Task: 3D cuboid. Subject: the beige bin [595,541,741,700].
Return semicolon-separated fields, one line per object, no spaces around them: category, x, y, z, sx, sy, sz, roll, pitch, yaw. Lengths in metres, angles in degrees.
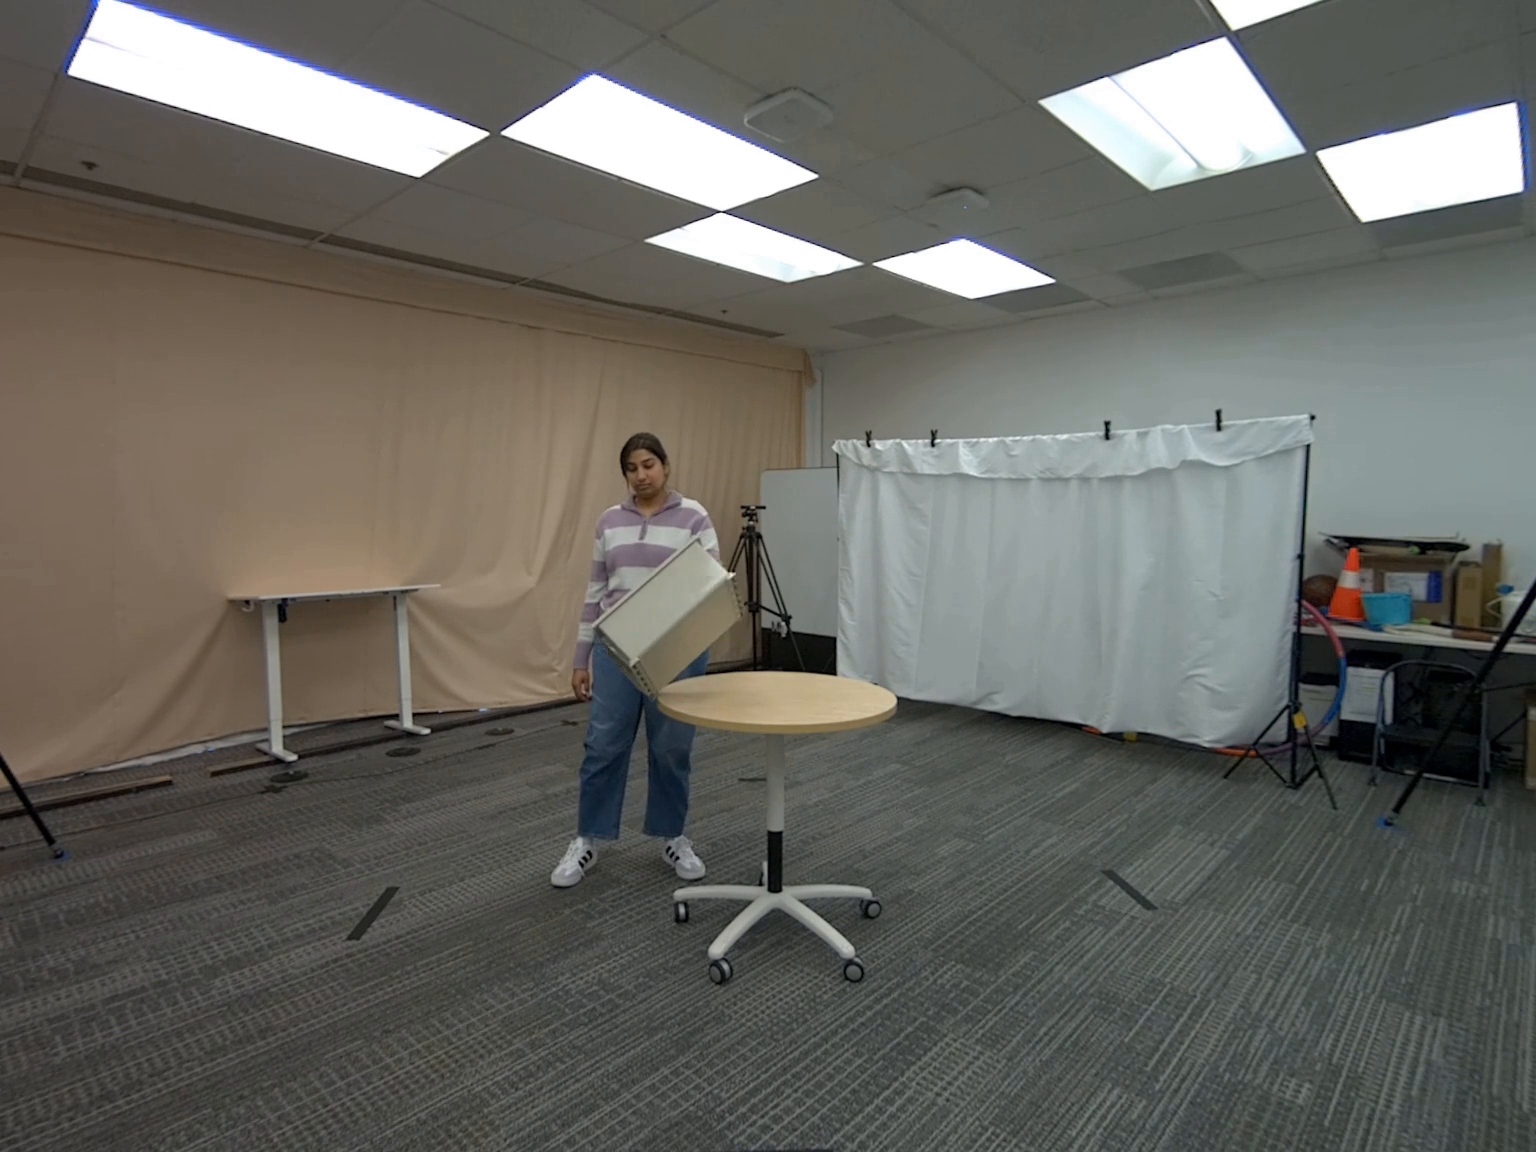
beige bin;-0.295;0.150;2.620;0.420;0.194;0.370;-40;-22;-14
